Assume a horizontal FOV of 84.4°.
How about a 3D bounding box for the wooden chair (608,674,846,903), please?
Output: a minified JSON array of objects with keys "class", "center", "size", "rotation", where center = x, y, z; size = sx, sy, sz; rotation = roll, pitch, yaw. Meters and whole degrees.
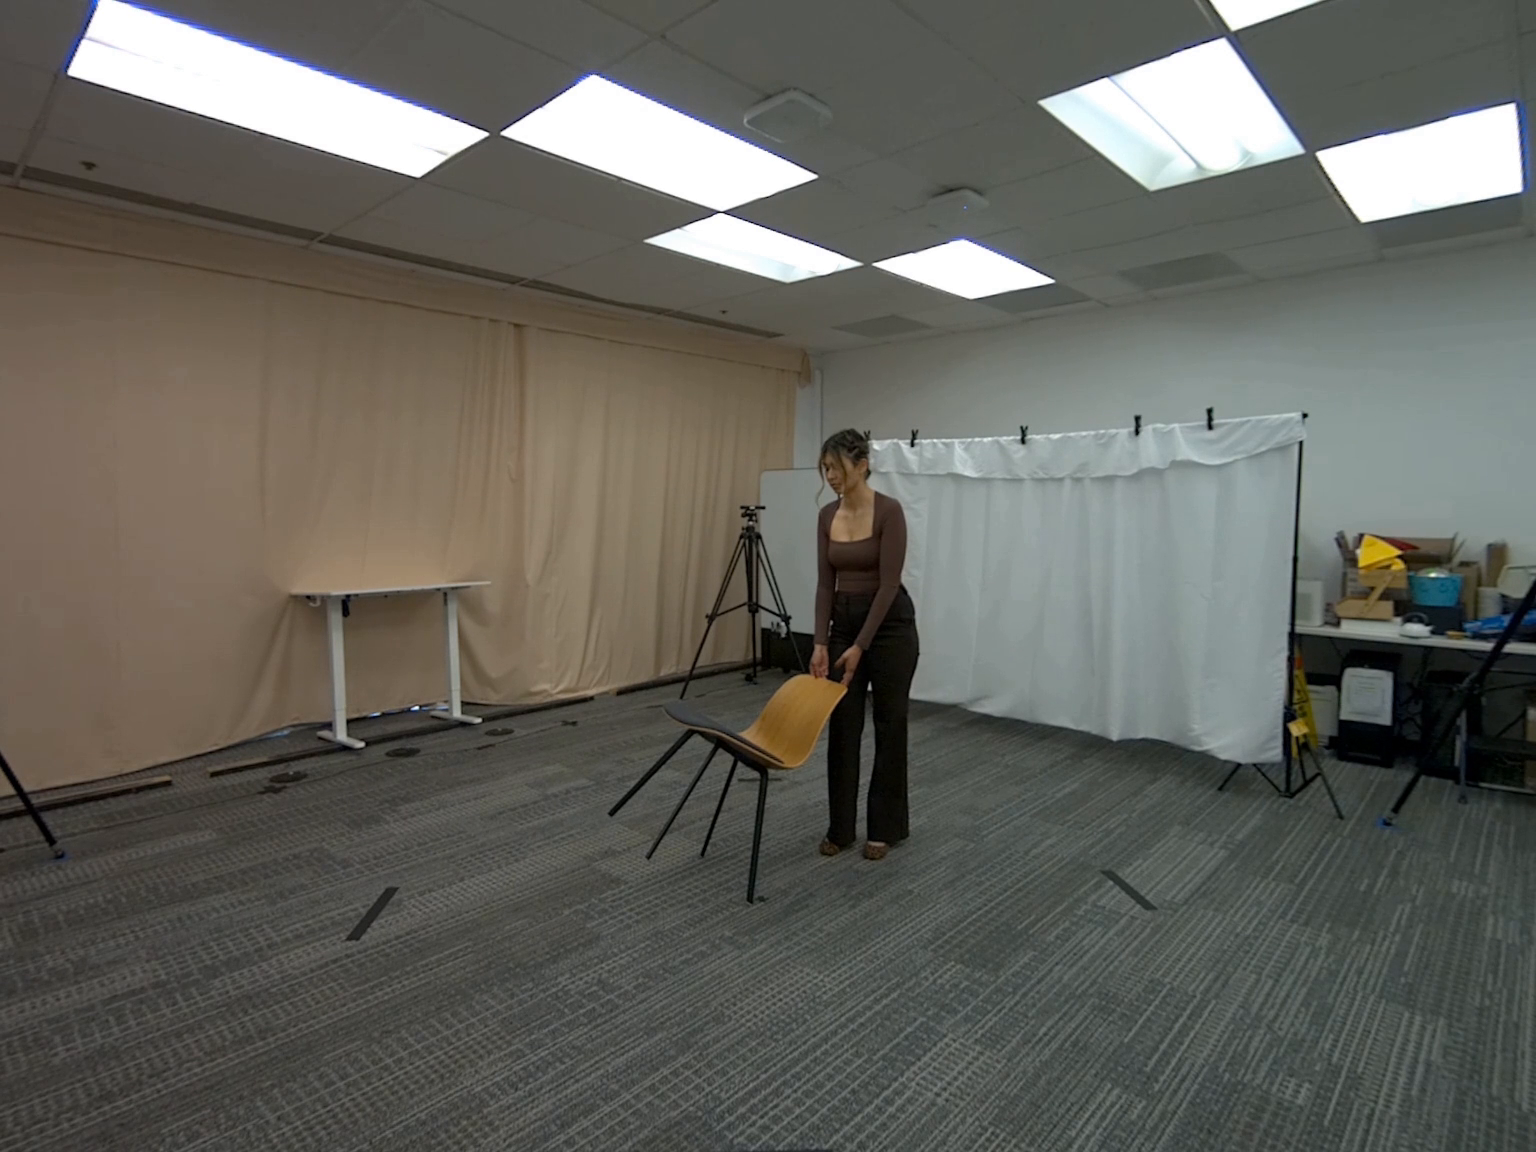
[{"class":"wooden chair","center":[-0.139,0.645,3.123],"size":[0.510,0.877,0.491],"rotation":[36,-12,-23]}]
